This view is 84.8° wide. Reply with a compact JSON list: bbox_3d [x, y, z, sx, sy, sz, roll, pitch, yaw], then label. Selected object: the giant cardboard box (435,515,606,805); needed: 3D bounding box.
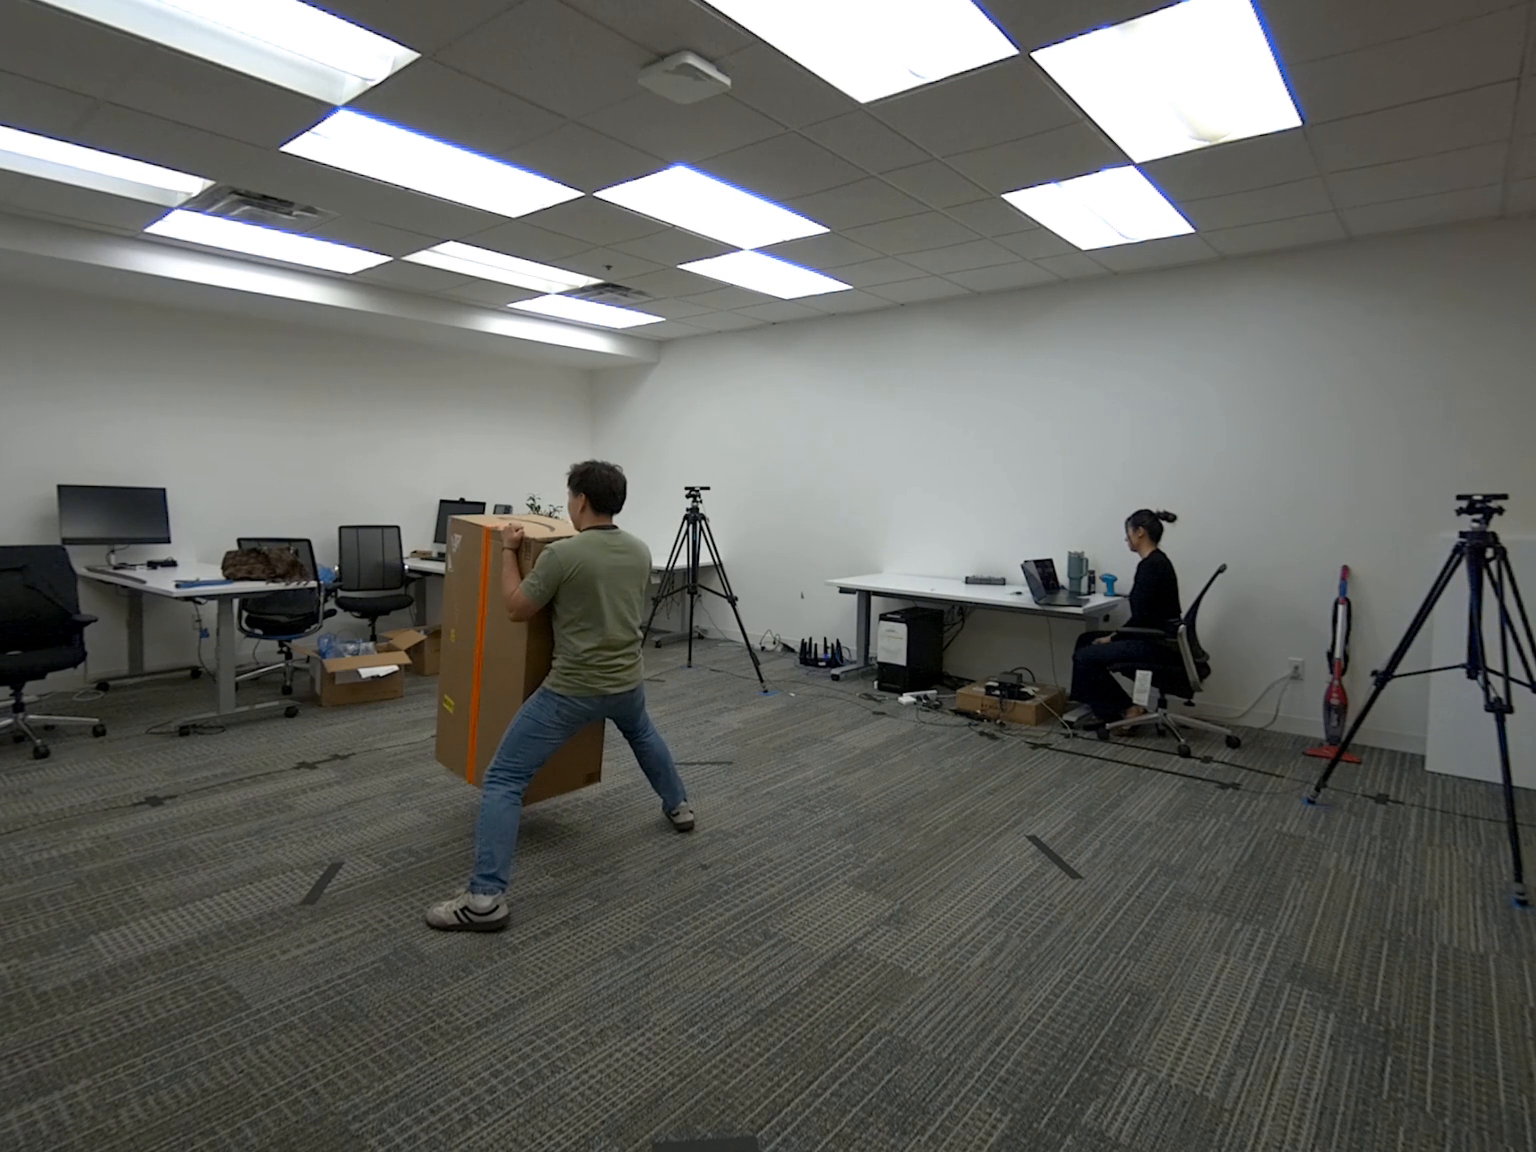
[{"bbox_3d":[-1.004,0.294,3.426,0.599,1.019,0.413,12,10,40],"label":"giant cardboard box"}]
